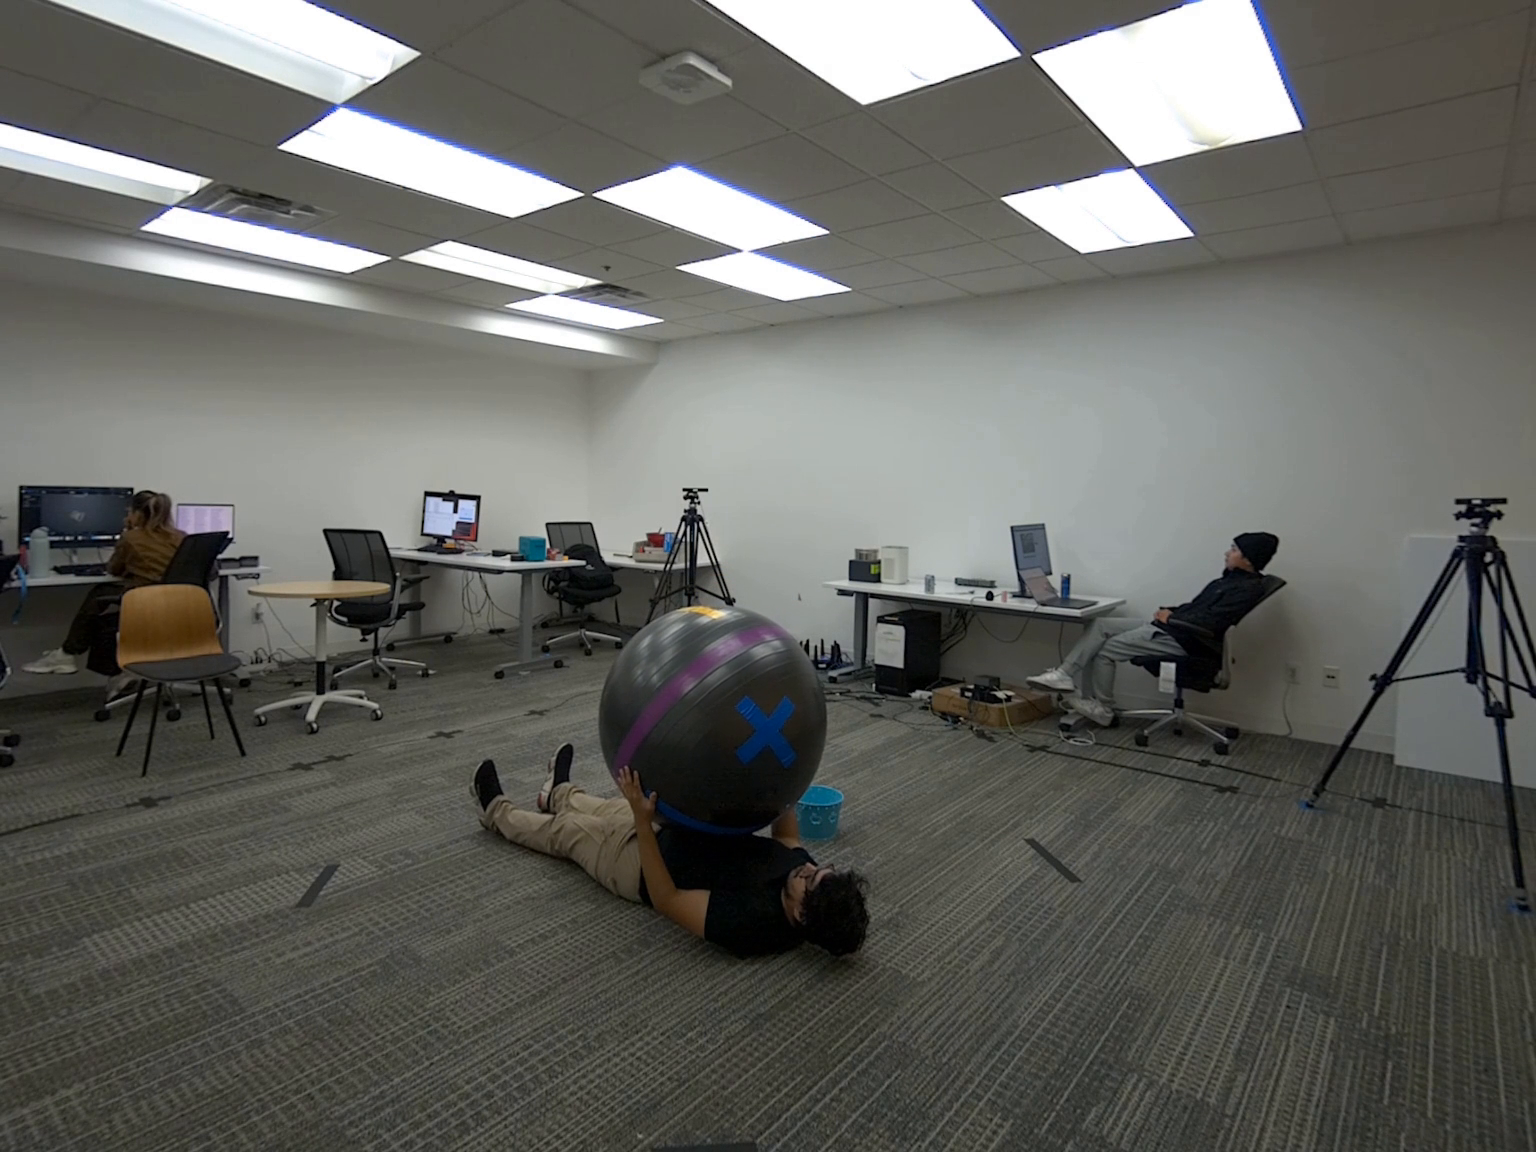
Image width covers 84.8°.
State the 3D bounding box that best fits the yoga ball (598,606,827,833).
[{"bbox_3d":[-0.192,0.475,2.829,0.757,0.756,0.761,0,4,-2],"label":"yoga ball"}]
